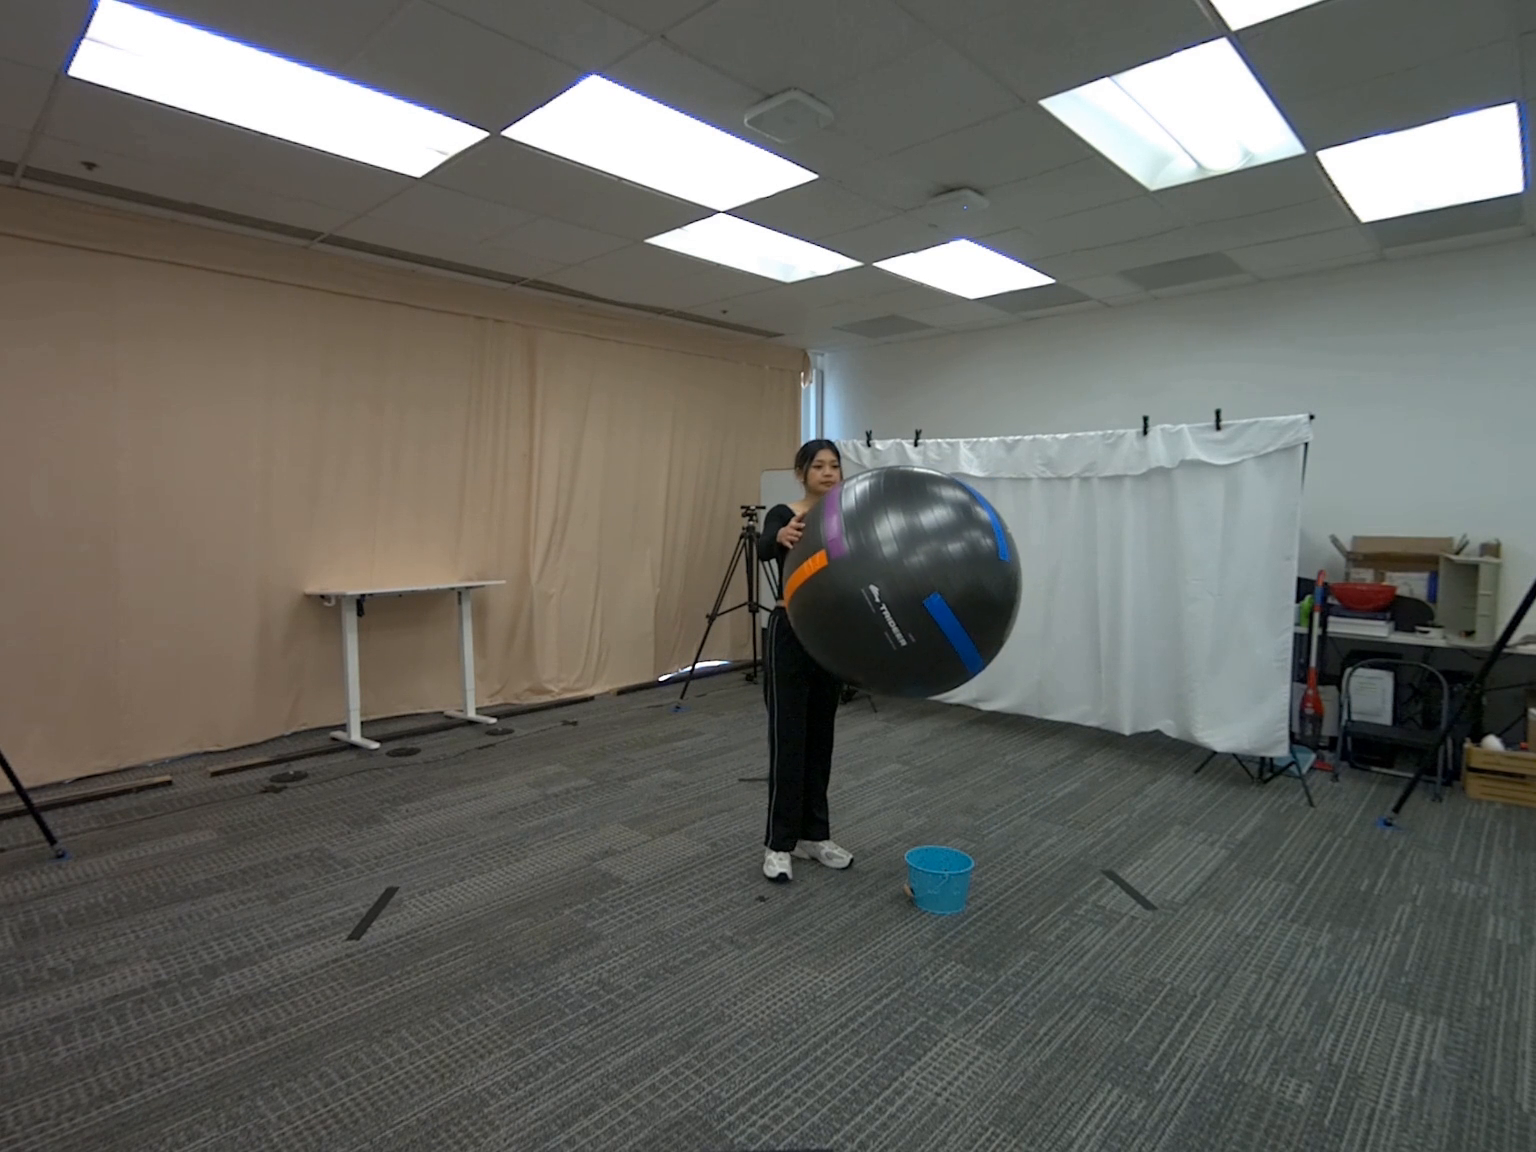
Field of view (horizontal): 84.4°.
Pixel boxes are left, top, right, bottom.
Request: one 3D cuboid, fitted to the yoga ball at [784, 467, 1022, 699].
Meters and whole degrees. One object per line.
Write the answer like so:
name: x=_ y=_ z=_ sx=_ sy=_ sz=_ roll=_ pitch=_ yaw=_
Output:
yoga ball: x=0.440 y=0.025 z=2.731 sx=0.757 sy=0.756 sz=0.760 roll=0 pitch=4 yaw=-2
